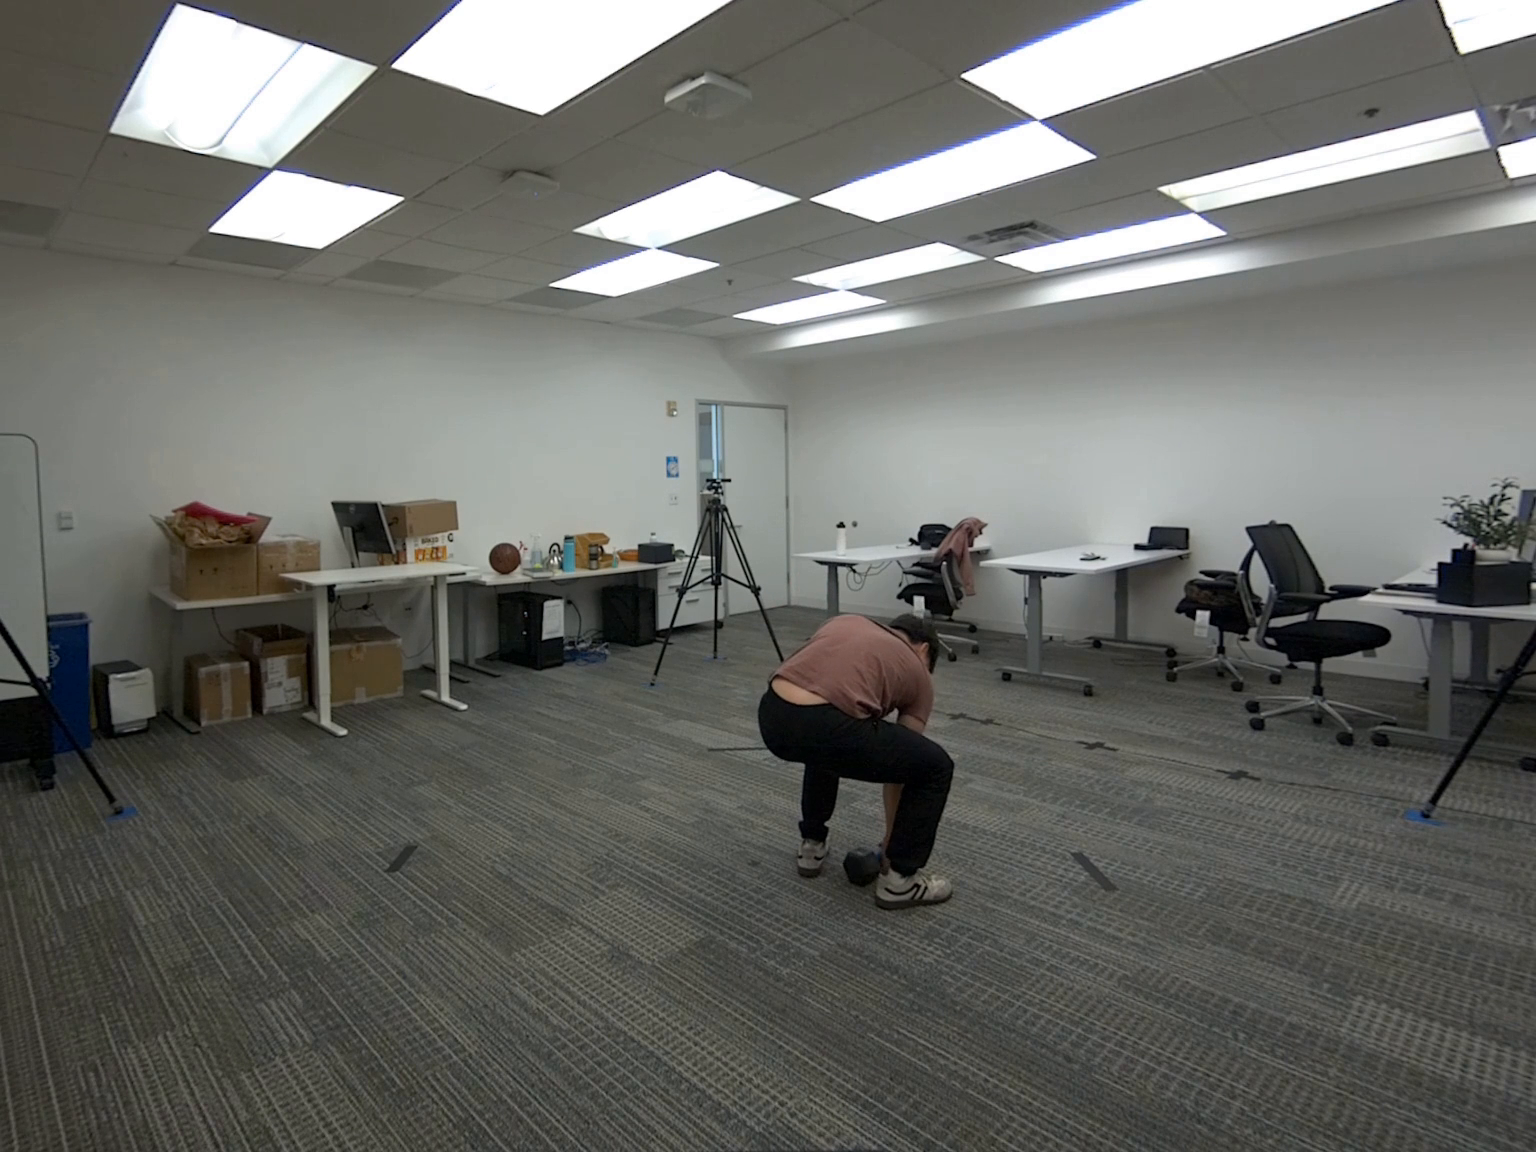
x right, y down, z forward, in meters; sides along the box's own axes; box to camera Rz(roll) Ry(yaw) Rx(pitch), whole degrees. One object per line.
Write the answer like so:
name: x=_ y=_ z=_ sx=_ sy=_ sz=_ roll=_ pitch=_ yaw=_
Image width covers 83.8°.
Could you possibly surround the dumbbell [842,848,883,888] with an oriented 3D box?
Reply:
dumbbell: x=0.398 y=0.993 z=3.016 sx=0.286 sy=0.121 sz=0.113 roll=-5 pitch=34 yaw=-43
